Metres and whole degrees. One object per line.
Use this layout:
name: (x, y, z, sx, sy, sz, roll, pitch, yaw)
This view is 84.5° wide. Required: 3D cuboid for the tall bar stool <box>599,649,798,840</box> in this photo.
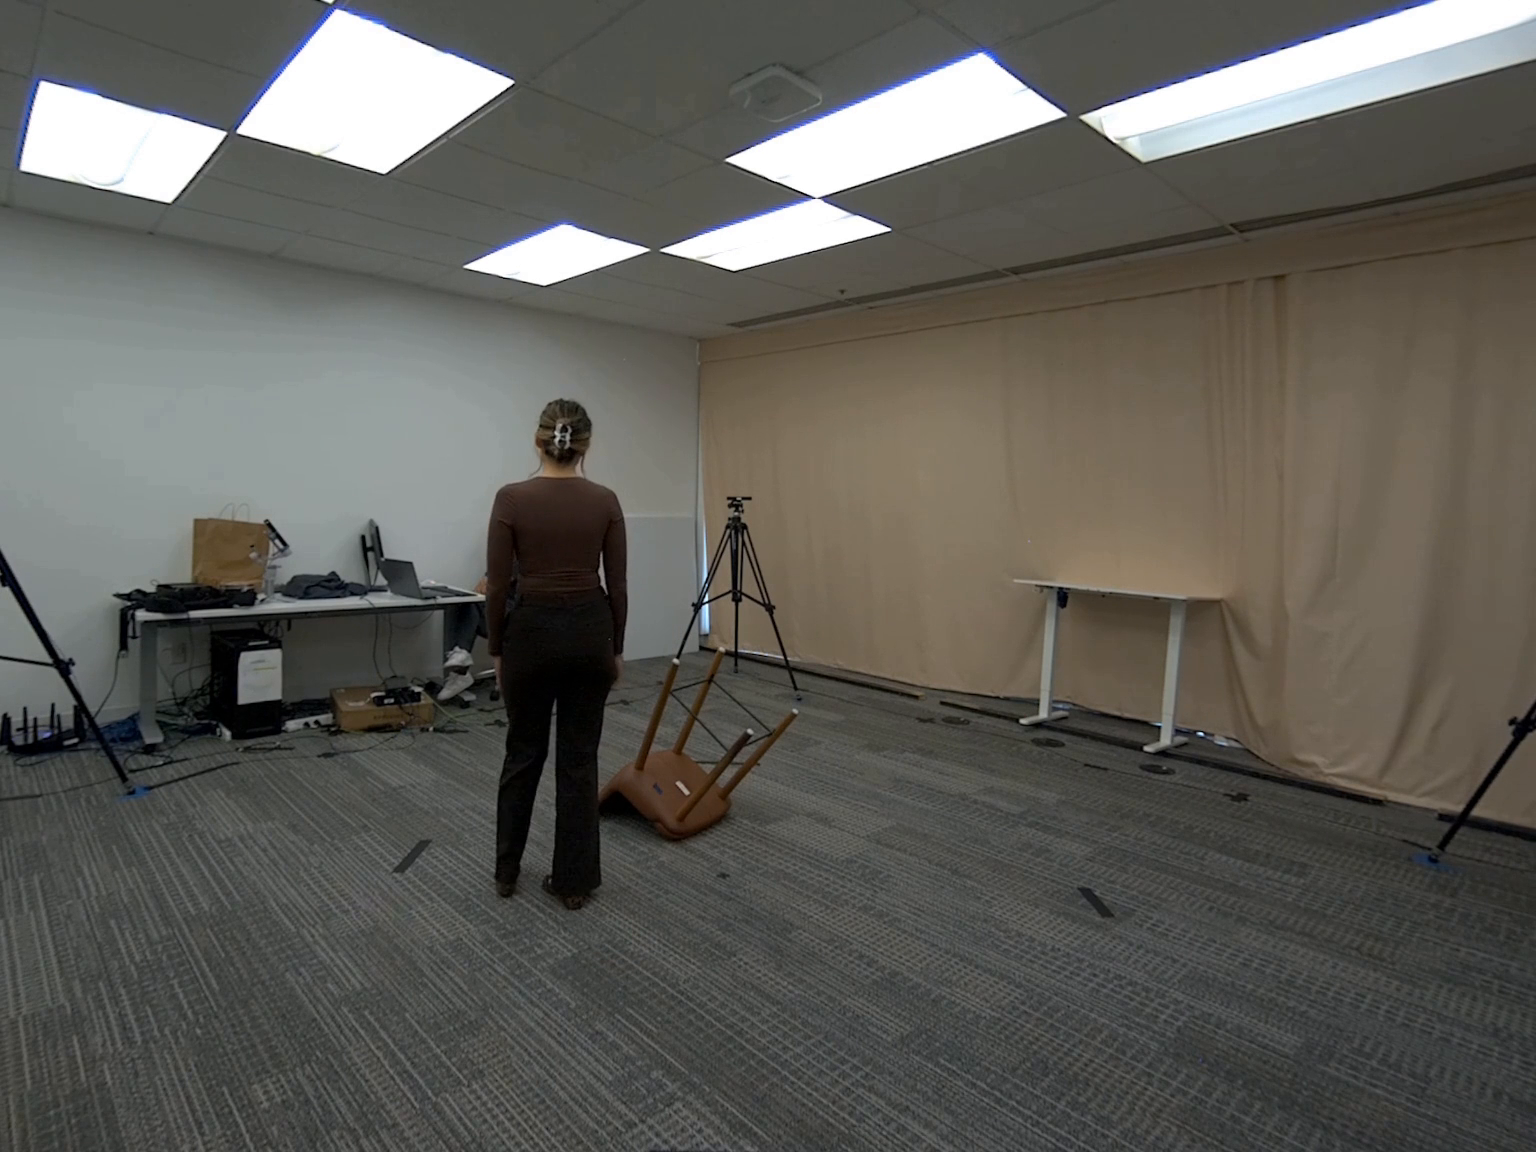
tall bar stool: (-0.354, 0.807, 3.588, 0.479, 0.886, 0.447, 41, 21, 22)
